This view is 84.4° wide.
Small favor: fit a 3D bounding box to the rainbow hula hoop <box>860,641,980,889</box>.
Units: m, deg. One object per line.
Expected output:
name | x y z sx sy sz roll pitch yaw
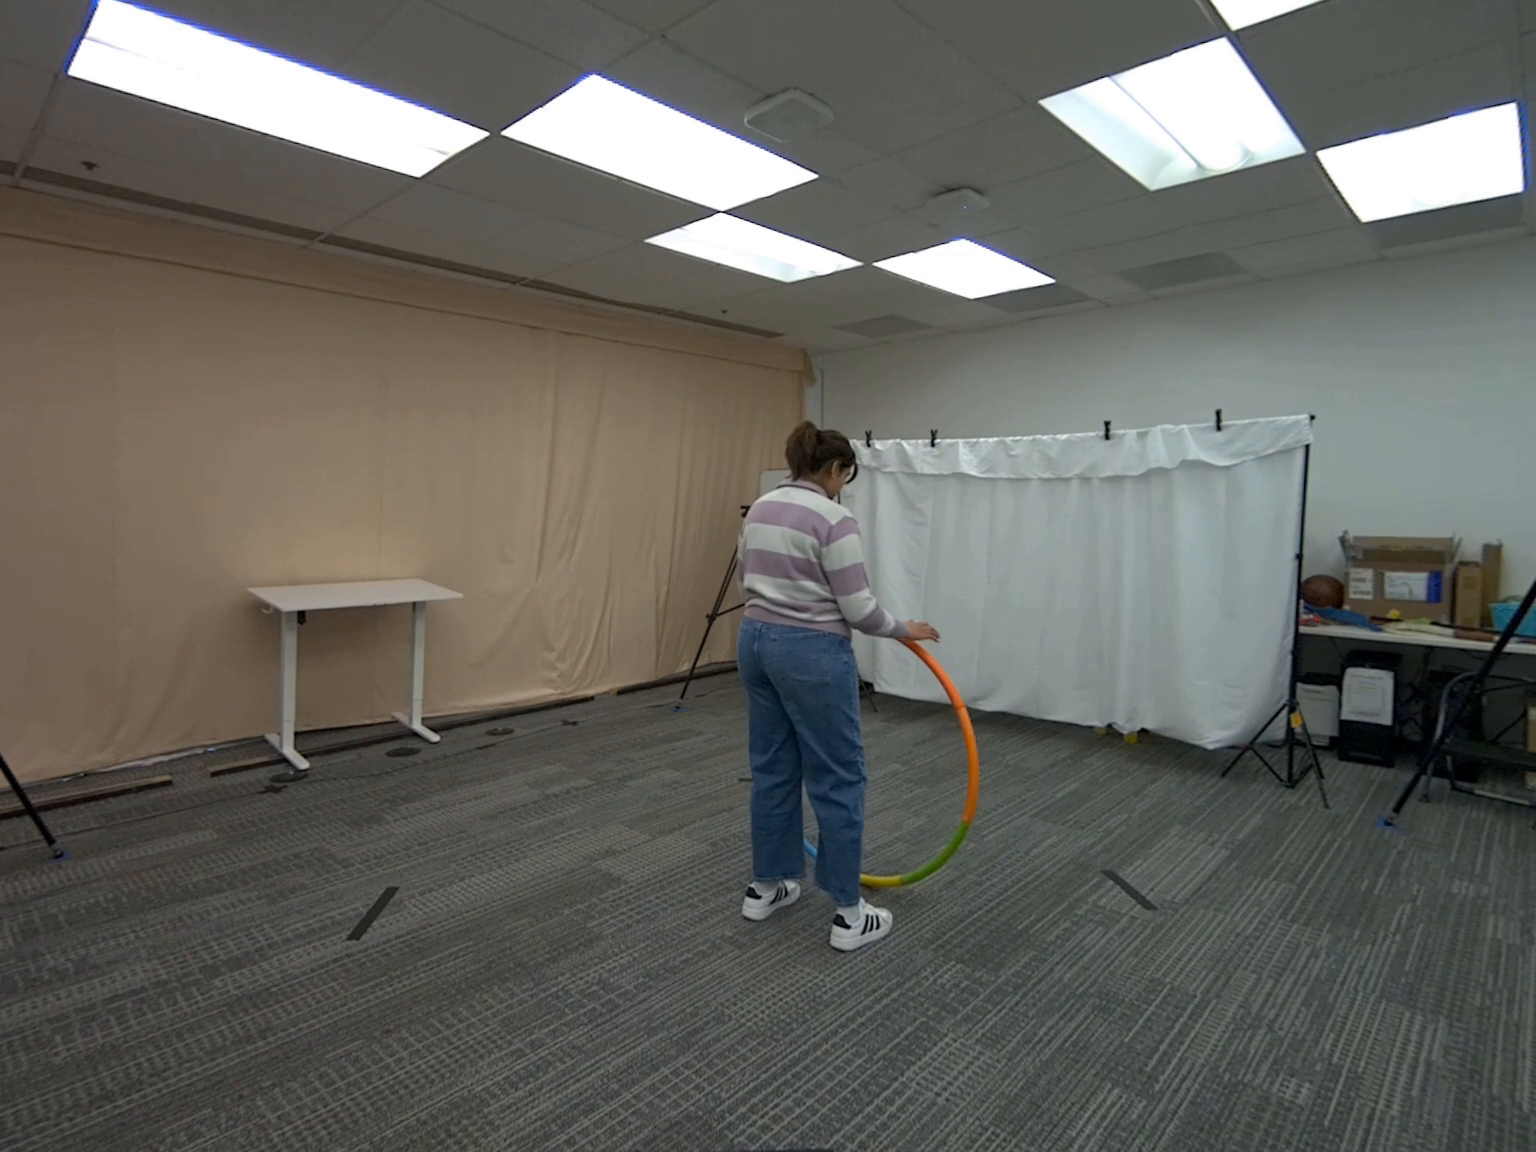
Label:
rainbow hula hoop | 0.319 0.643 3.111 1.018 0.984 0.050 4 3 45
